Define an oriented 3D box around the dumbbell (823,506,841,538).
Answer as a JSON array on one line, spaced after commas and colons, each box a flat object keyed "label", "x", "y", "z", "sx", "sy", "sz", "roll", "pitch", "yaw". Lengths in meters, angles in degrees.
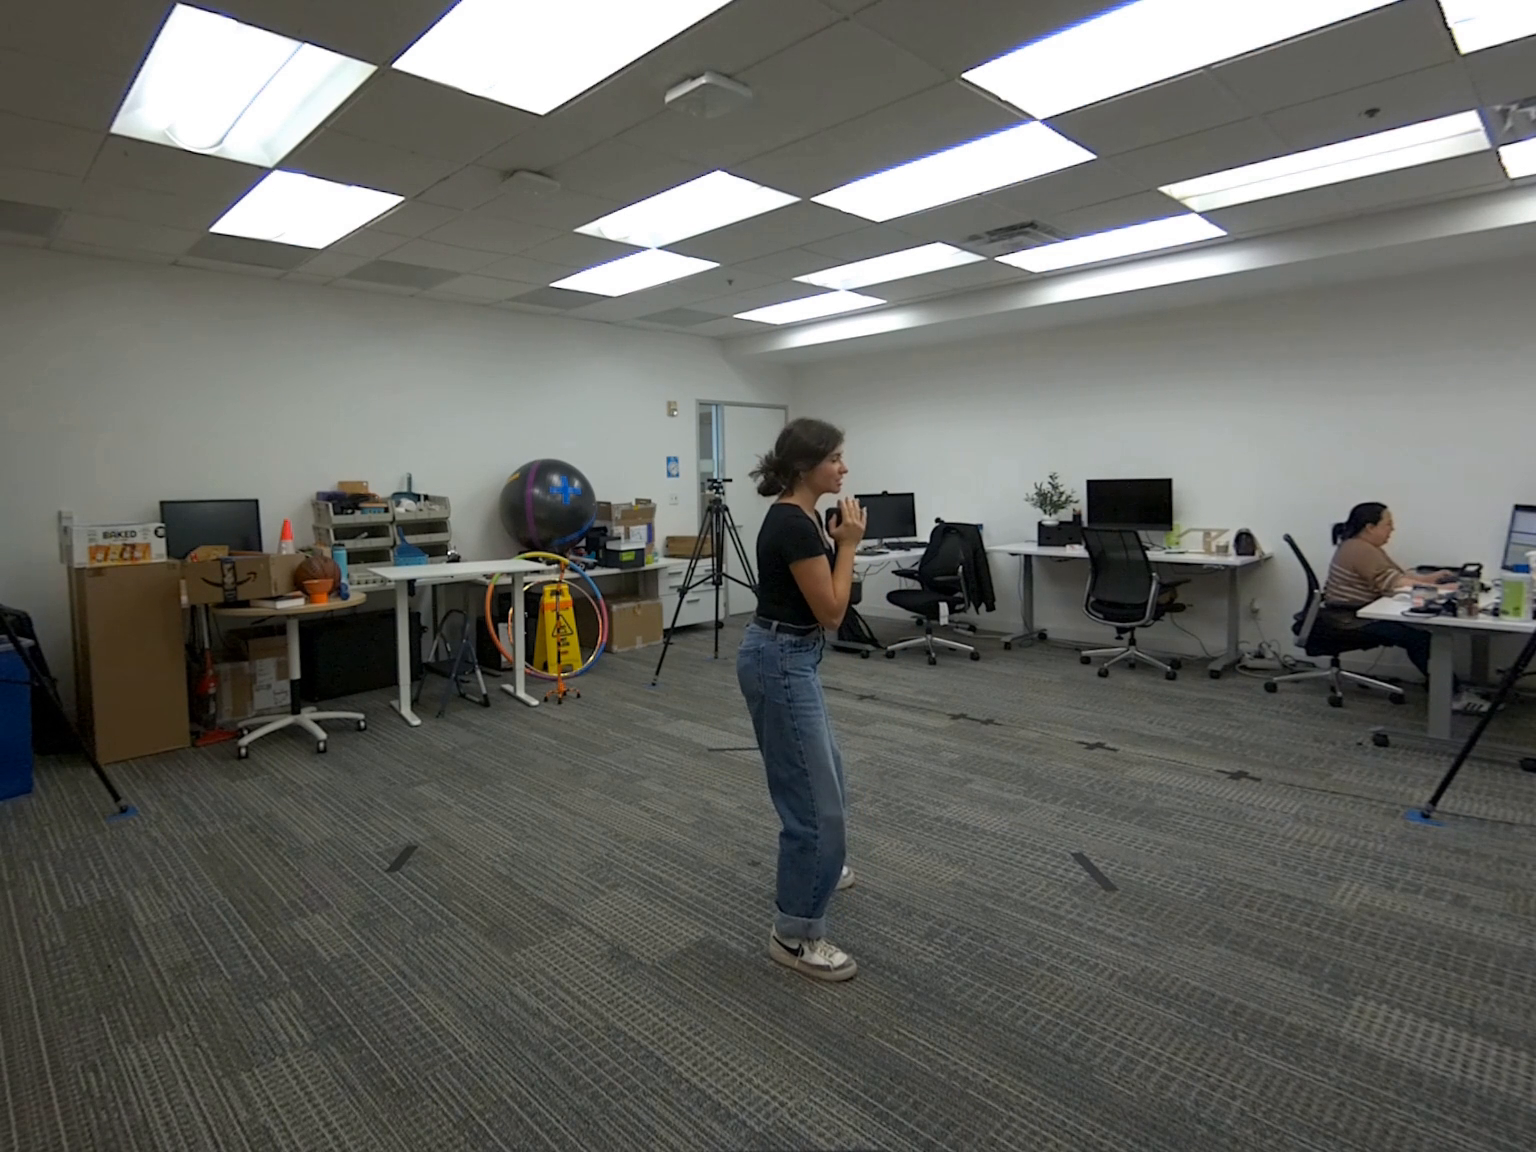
[{"label": "dumbbell", "x": 0.218, "y": -0.051, "z": 2.582, "sx": 0.126, "sy": 0.294, "sz": 0.106, "roll": 5, "pitch": -1, "yaw": 27}]
